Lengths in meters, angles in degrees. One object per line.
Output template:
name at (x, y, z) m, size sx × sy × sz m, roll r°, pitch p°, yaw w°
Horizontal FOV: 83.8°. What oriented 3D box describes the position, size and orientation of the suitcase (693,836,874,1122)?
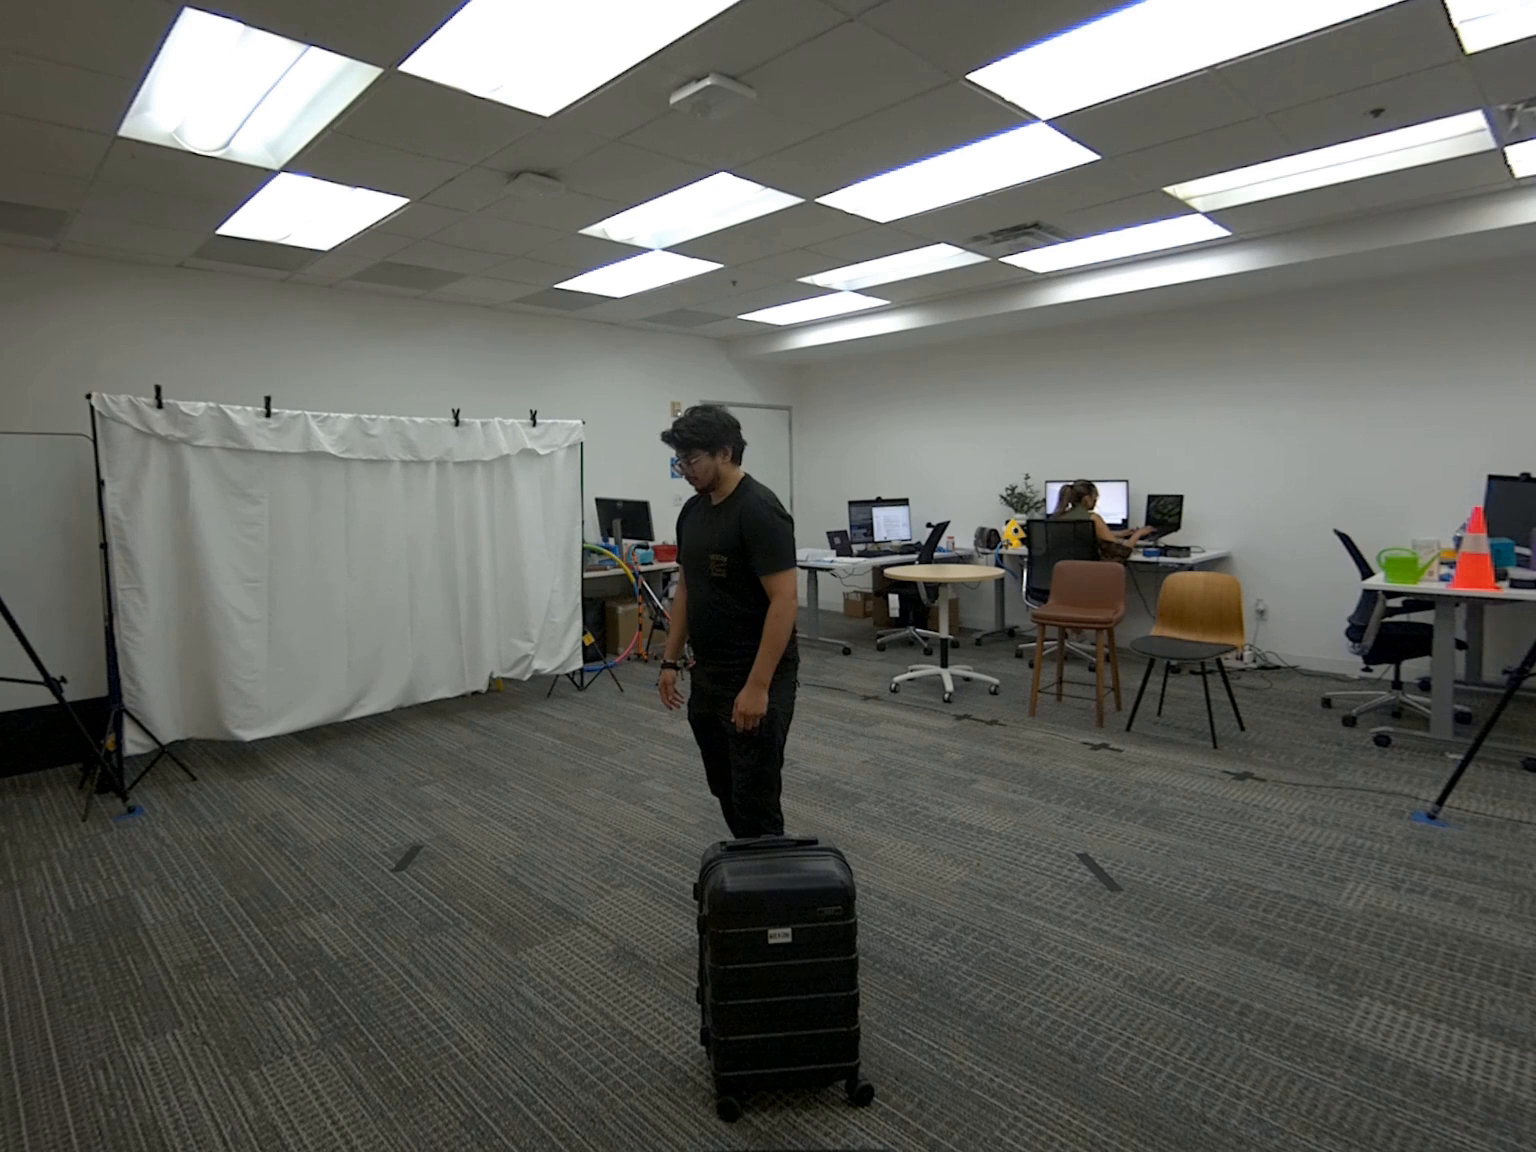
suitcase at (0.032, 0.898, 1.992) m, size 0.373 × 0.548 × 0.250 m, roll -2°, pitch 3°, yaw -5°
